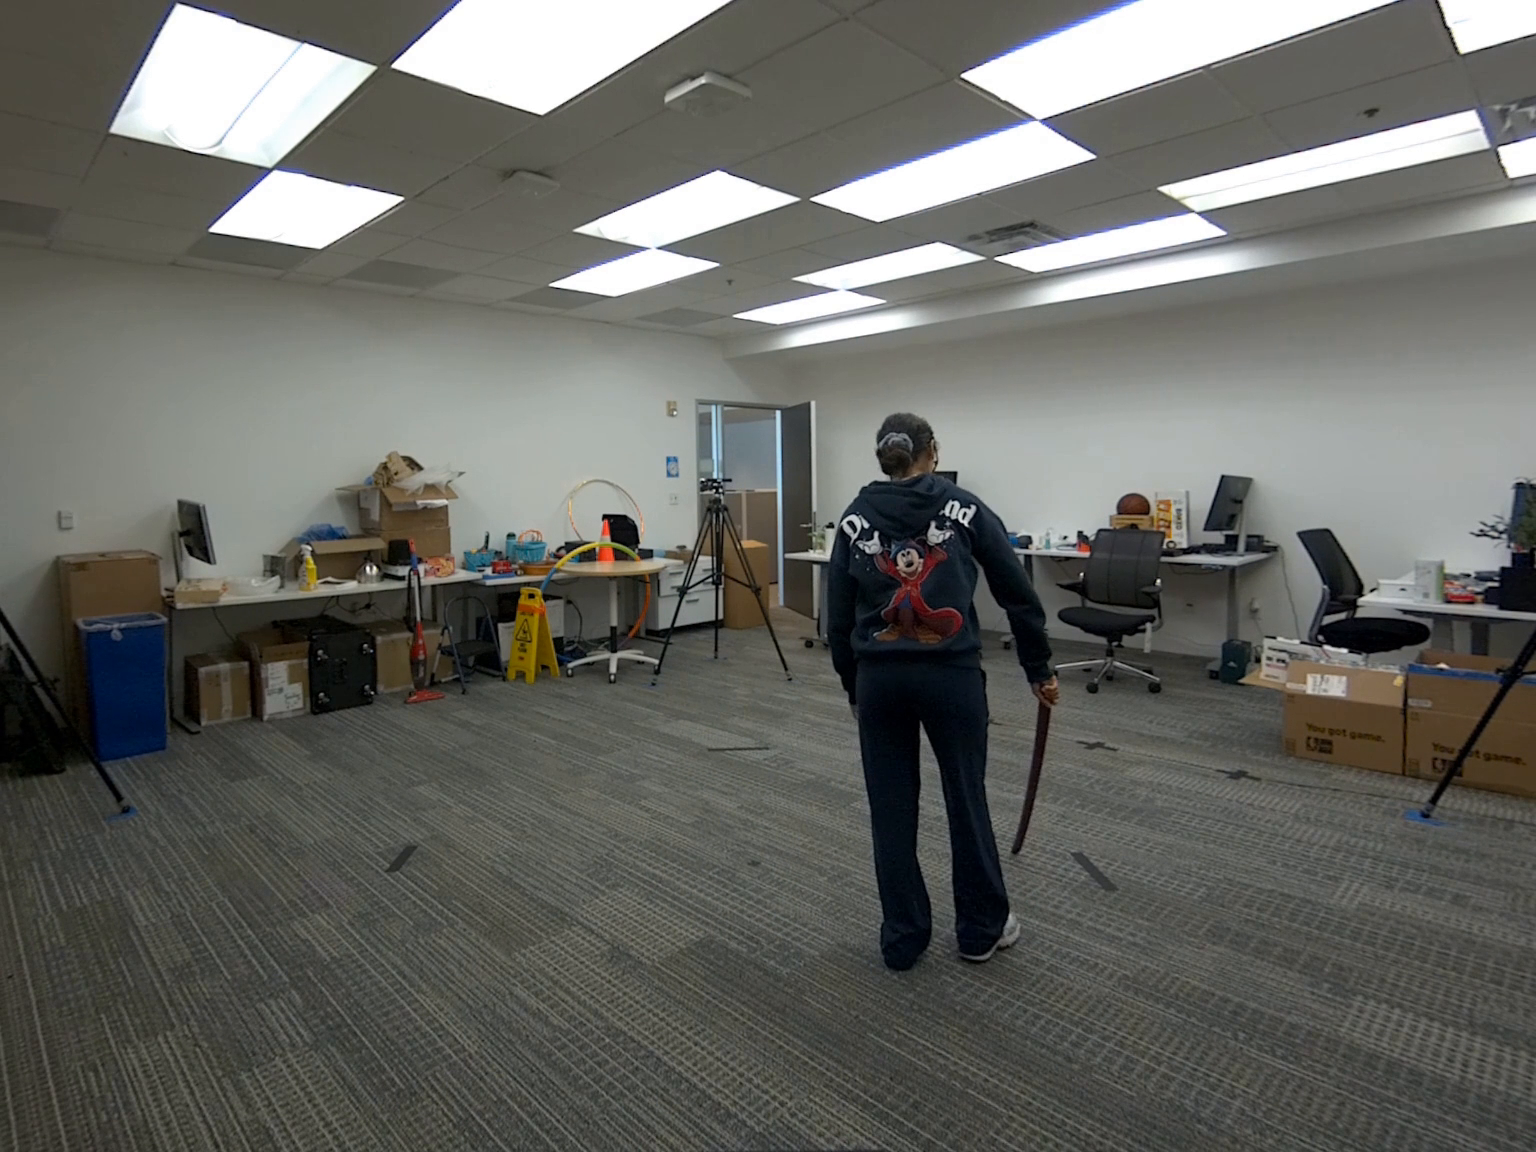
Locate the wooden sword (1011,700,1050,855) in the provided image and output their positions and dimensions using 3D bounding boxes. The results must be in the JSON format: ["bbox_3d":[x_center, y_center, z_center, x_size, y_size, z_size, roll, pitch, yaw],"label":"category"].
[{"bbox_3d":[0.884,0.672,2.807,0.052,0.994,0.024,17,49,20],"label":"wooden sword"}]
